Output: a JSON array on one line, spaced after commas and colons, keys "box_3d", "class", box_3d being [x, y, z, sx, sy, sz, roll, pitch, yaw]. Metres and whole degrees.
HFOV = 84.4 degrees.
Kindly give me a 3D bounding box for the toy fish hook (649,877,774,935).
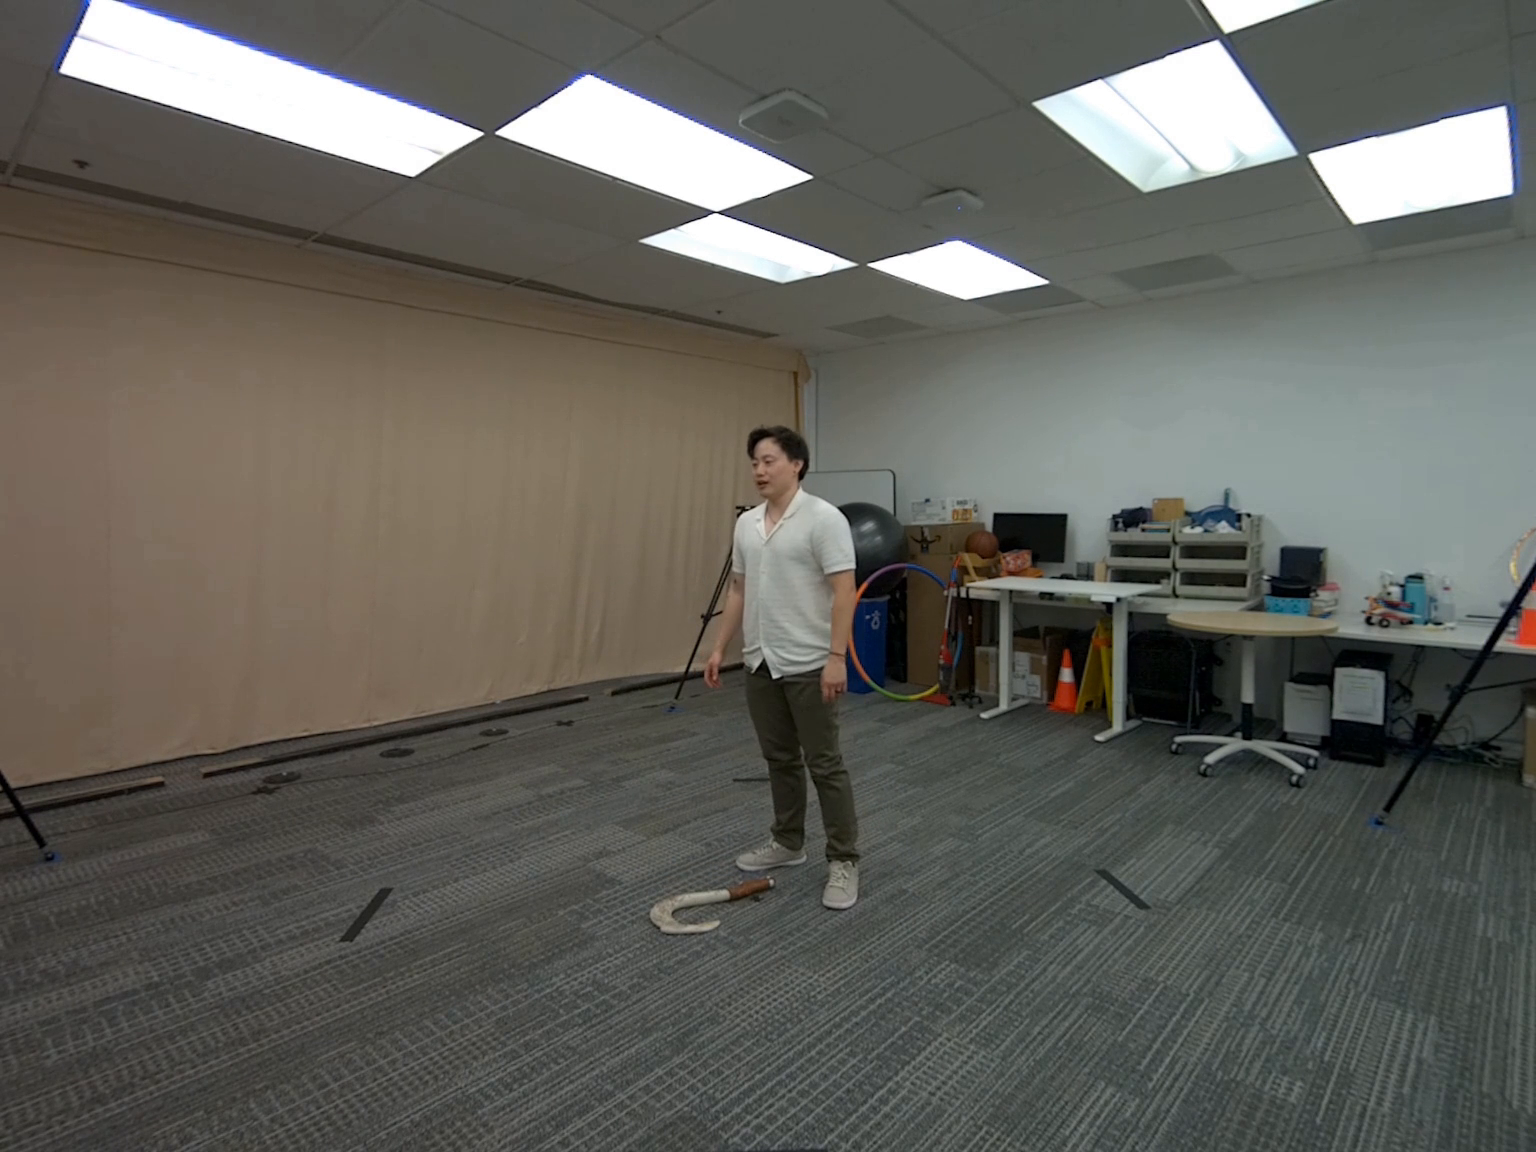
[{"box_3d": [-0.158, 1.138, 2.901, 0.493, 0.048, 0.232, -4, 13, -31], "class": "toy fish hook"}]
